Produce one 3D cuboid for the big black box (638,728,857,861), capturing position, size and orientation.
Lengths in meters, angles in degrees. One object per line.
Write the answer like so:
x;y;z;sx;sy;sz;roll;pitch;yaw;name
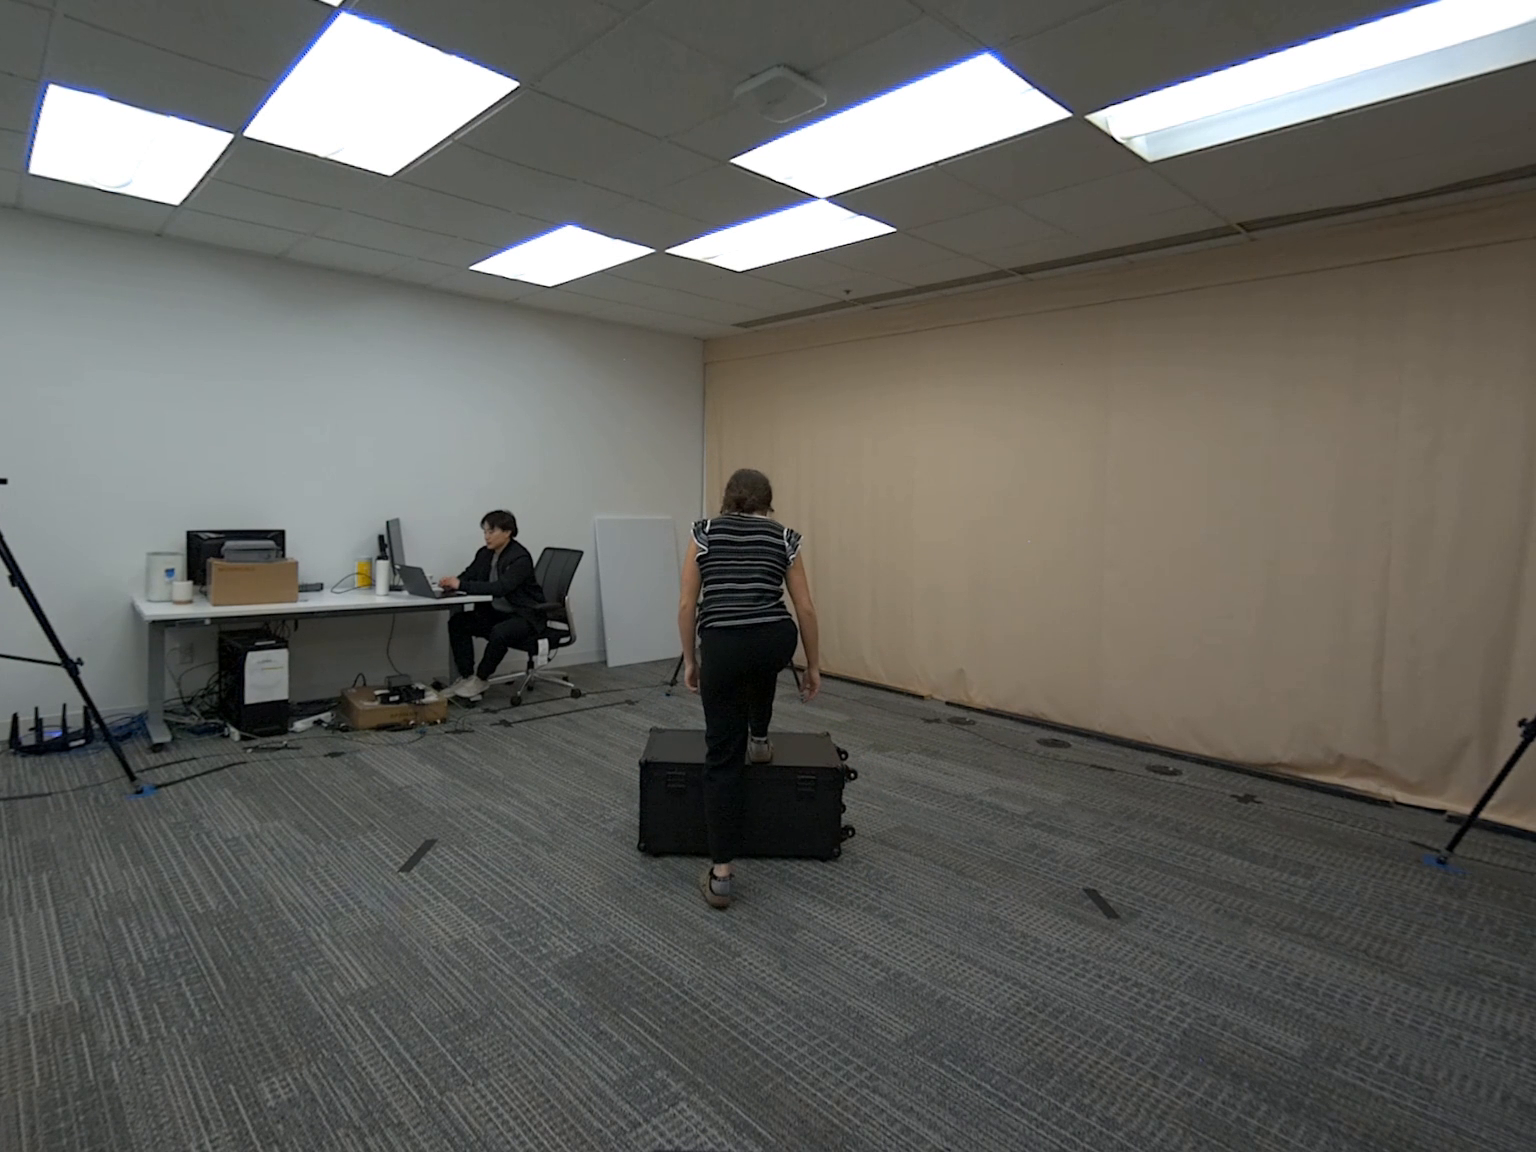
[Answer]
-0.091;0.883;3.465;0.860;0.395;0.523;1;4;-2;big black box
